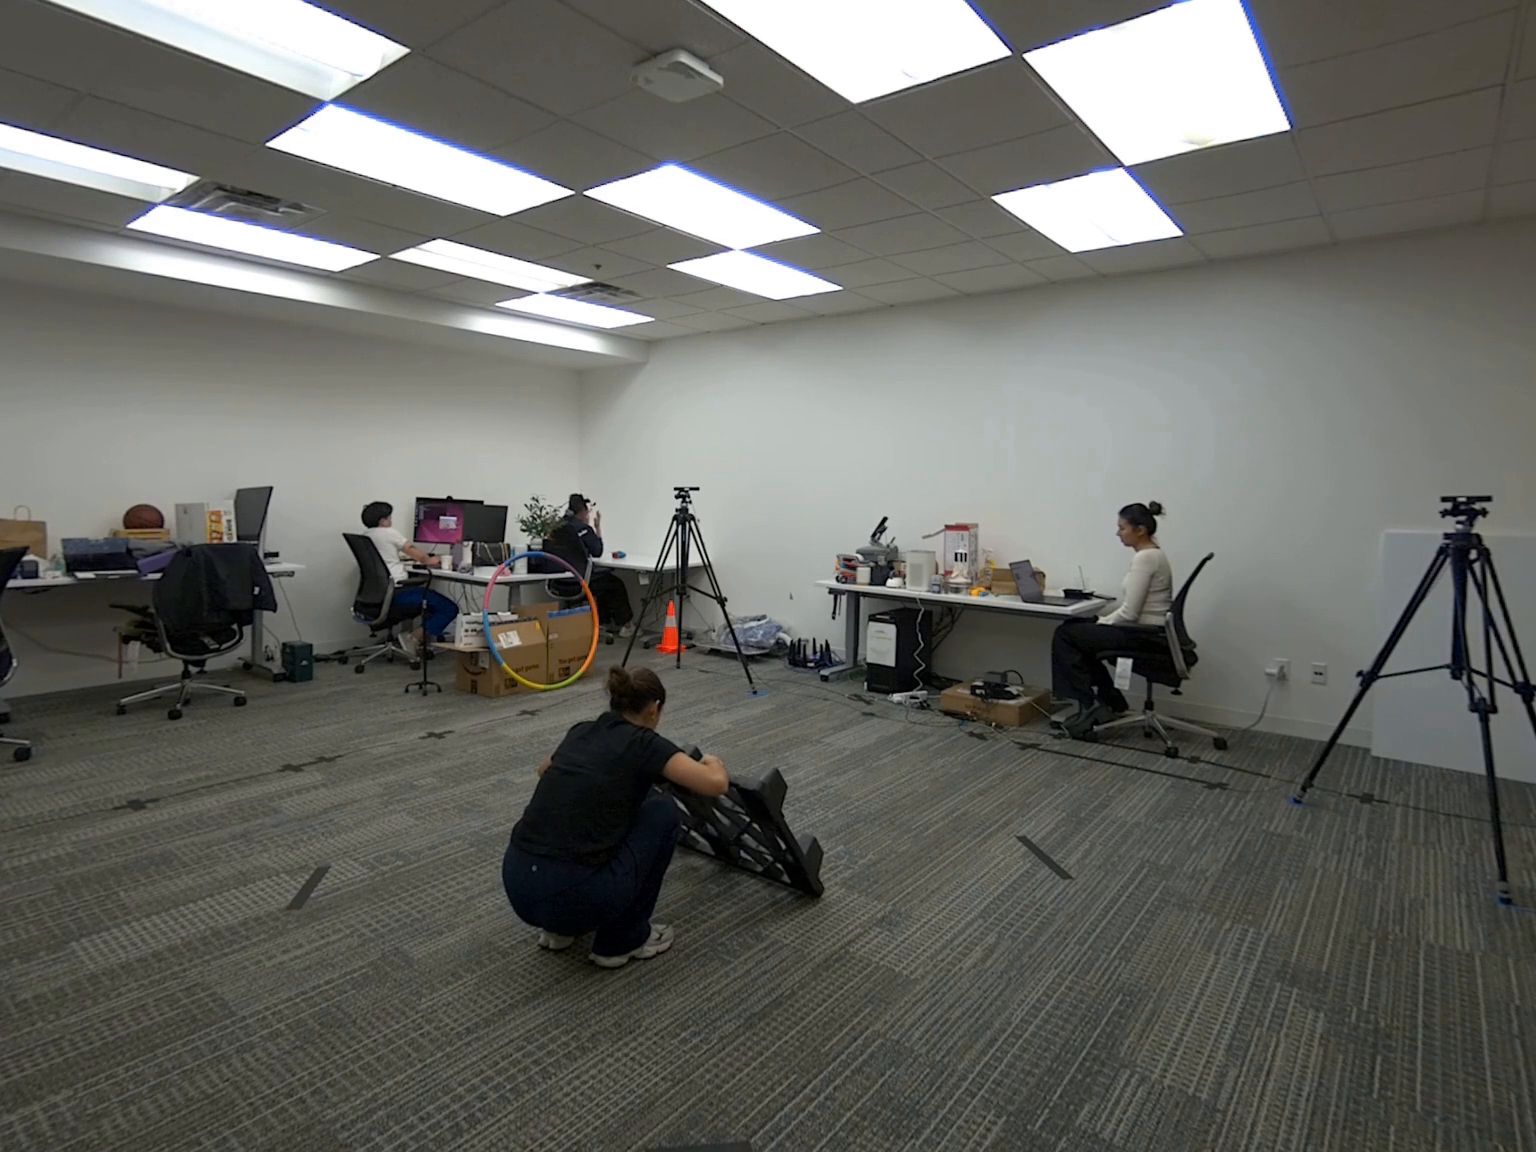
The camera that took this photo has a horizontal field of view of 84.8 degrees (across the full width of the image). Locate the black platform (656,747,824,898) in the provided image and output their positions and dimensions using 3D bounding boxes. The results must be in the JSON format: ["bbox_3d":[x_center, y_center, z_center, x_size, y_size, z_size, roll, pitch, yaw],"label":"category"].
[{"bbox_3d":[-0.205,0.794,3.026,0.833,0.584,0.143,6,42,39],"label":"black platform"}]
